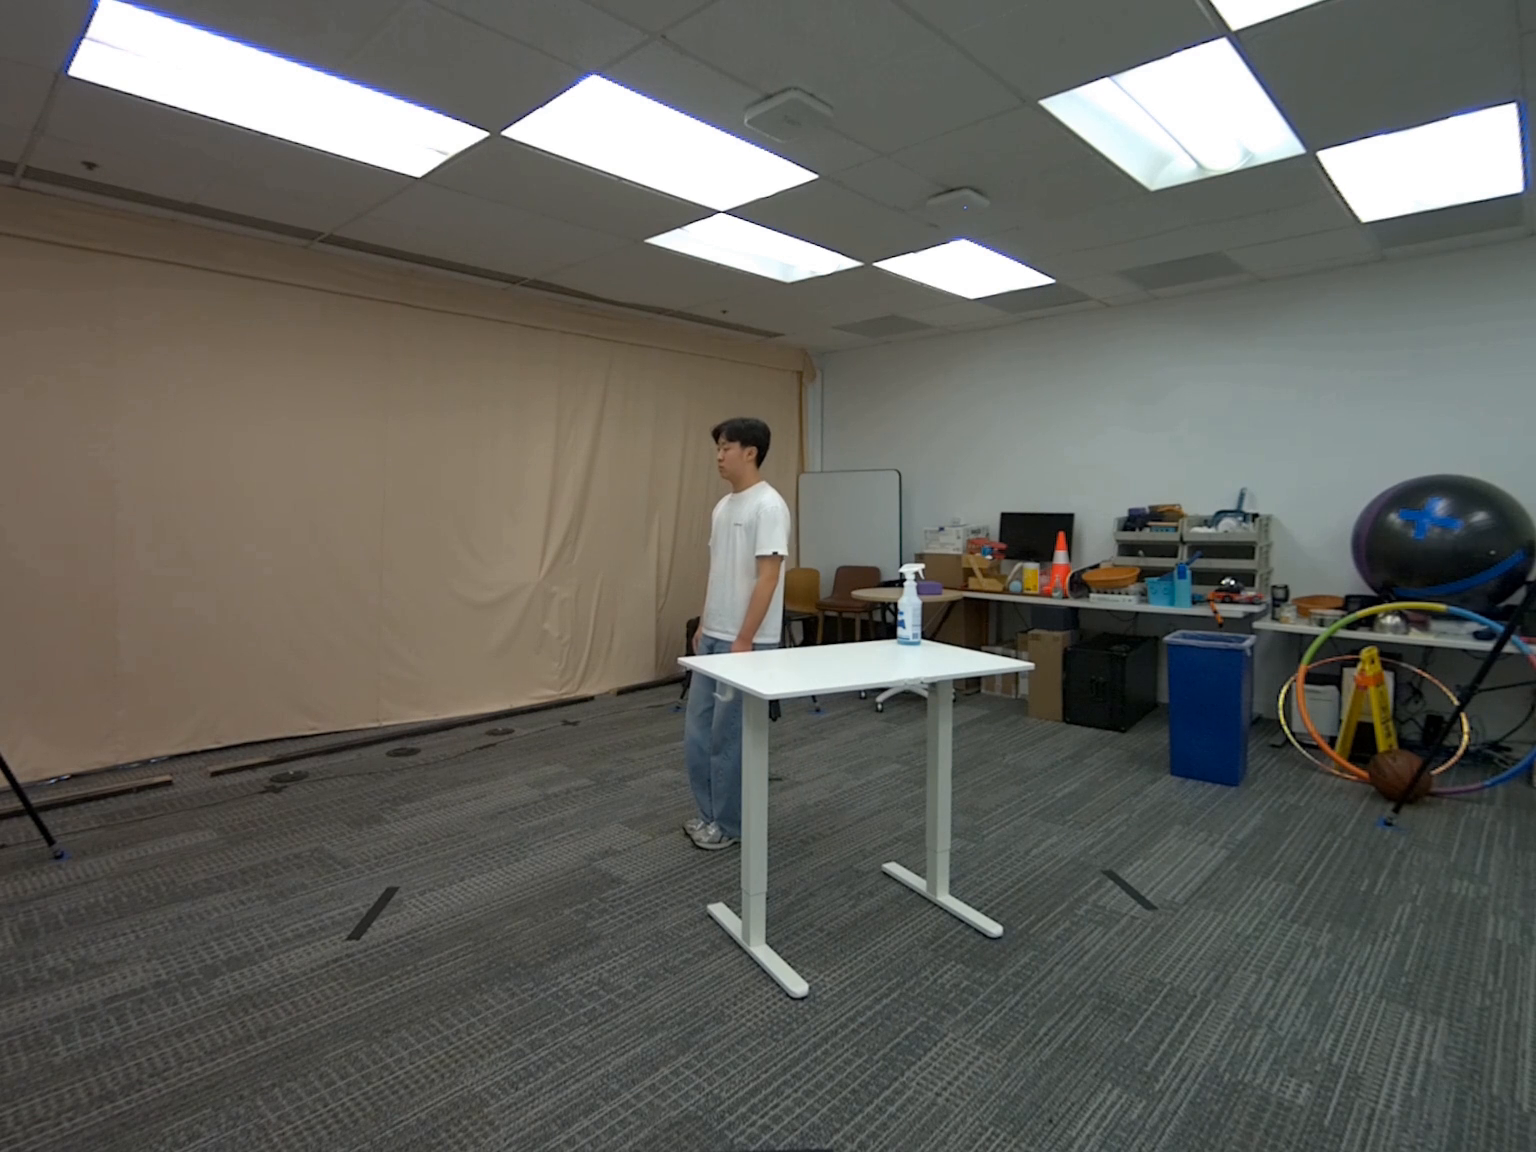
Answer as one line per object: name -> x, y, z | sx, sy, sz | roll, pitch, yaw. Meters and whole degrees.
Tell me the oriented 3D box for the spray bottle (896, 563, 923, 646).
spray bottle -> 0.530, 0.105, 3.097 | 0.093, 0.297, 0.084 | 4, 4, 39
